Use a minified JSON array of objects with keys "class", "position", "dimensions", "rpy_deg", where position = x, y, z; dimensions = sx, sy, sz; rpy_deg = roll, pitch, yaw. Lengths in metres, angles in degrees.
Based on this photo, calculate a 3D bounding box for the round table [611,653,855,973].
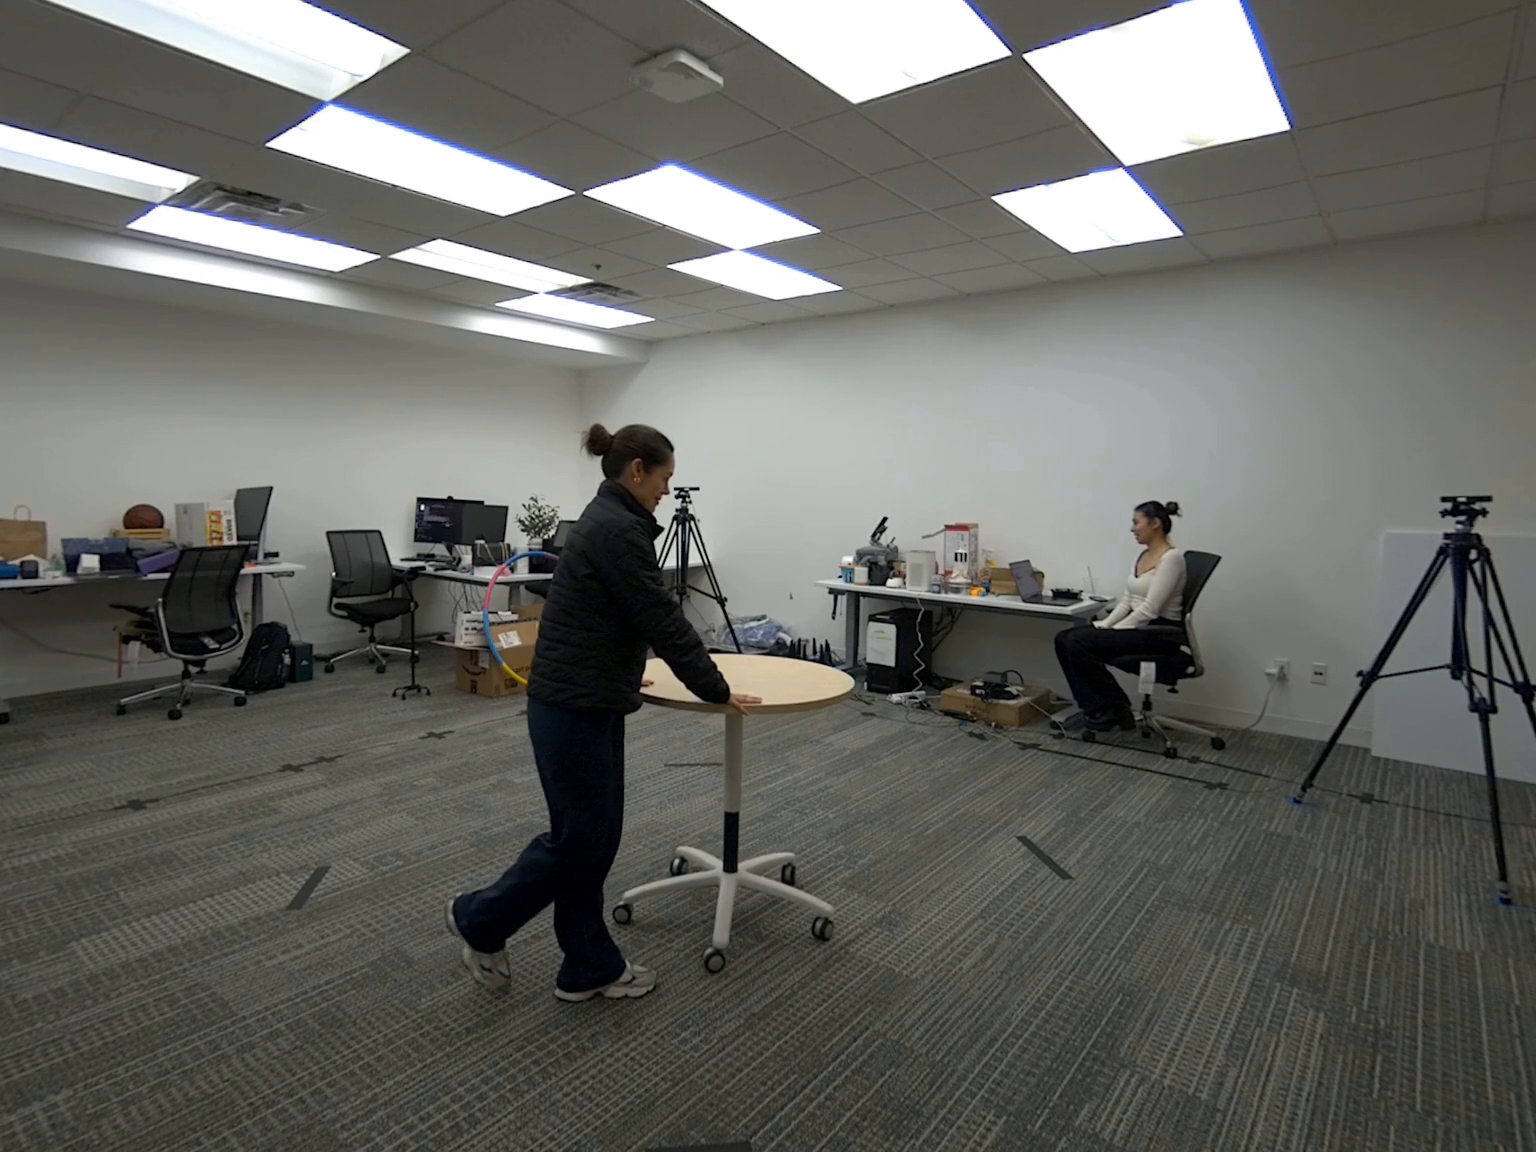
[{"class":"round table","position":[-0.113,0.708,2.774],"dimensions":[0.784,0.784,0.789],"rpy_deg":[1,4,-2]}]
